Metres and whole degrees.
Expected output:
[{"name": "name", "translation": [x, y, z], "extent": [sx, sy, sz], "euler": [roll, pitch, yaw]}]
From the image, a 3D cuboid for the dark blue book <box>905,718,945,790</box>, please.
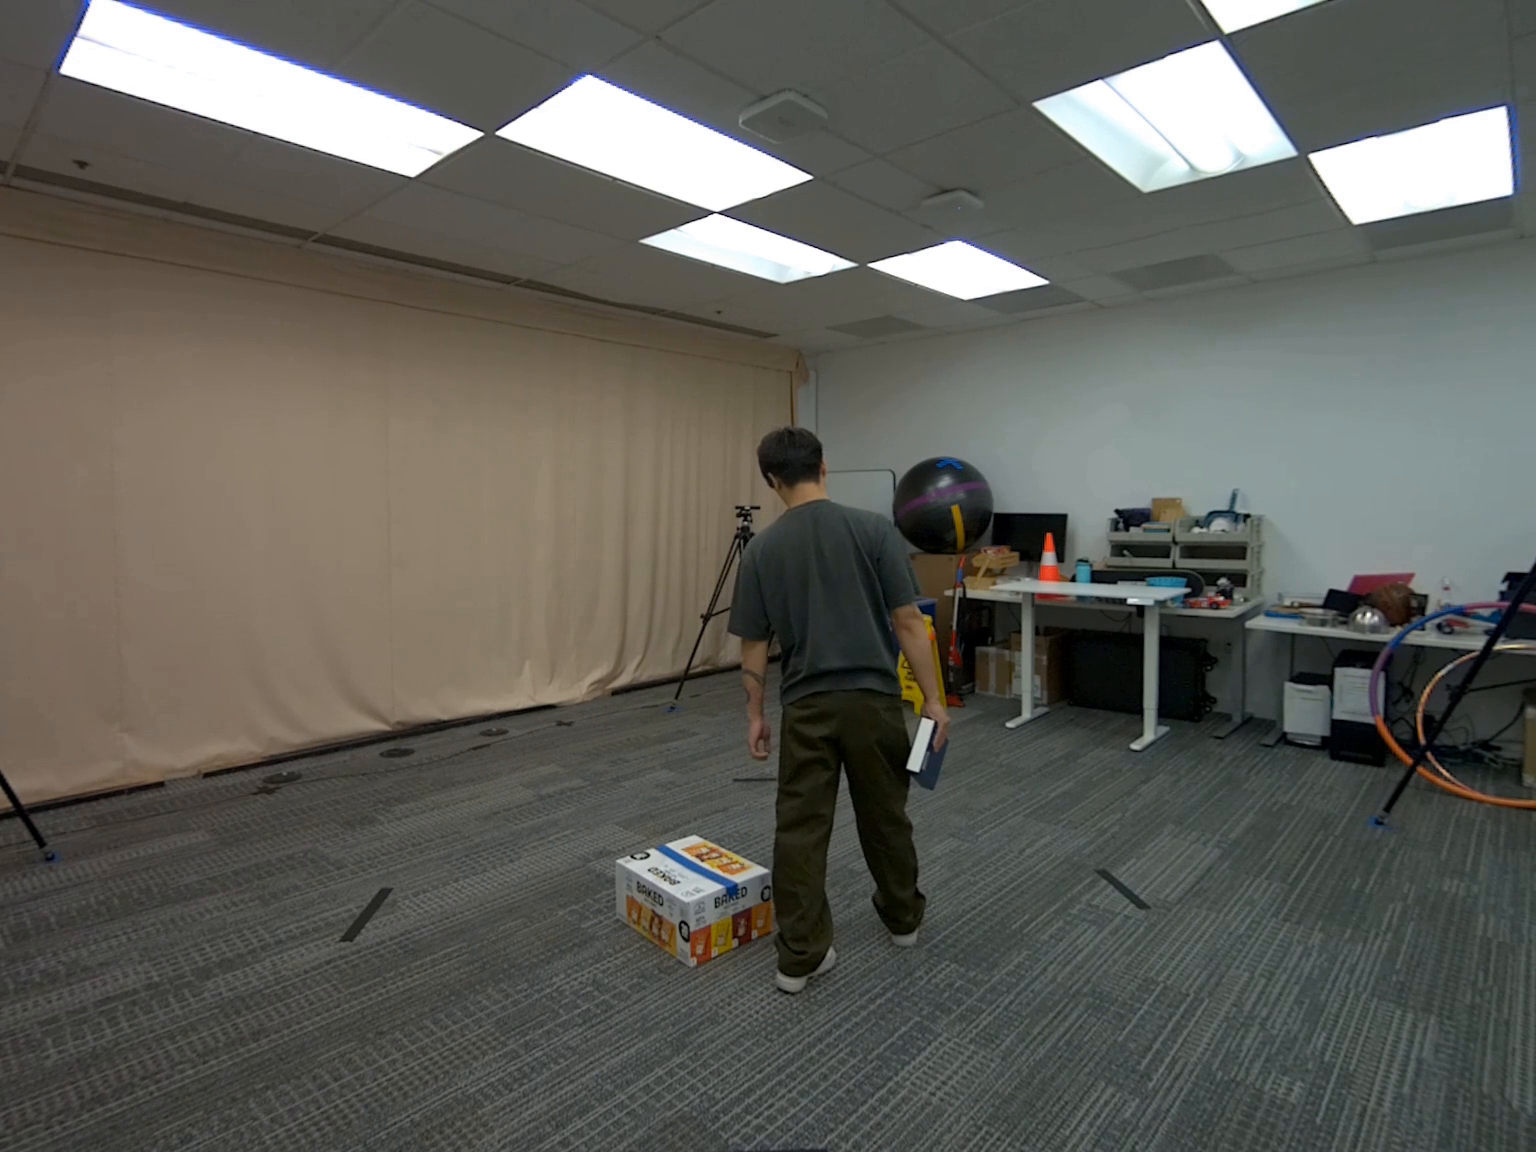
[{"name": "dark blue book", "translation": [0.484, 0.535, 2.492], "extent": [0.046, 0.164, 0.237], "euler": [13, -19, 27]}]
